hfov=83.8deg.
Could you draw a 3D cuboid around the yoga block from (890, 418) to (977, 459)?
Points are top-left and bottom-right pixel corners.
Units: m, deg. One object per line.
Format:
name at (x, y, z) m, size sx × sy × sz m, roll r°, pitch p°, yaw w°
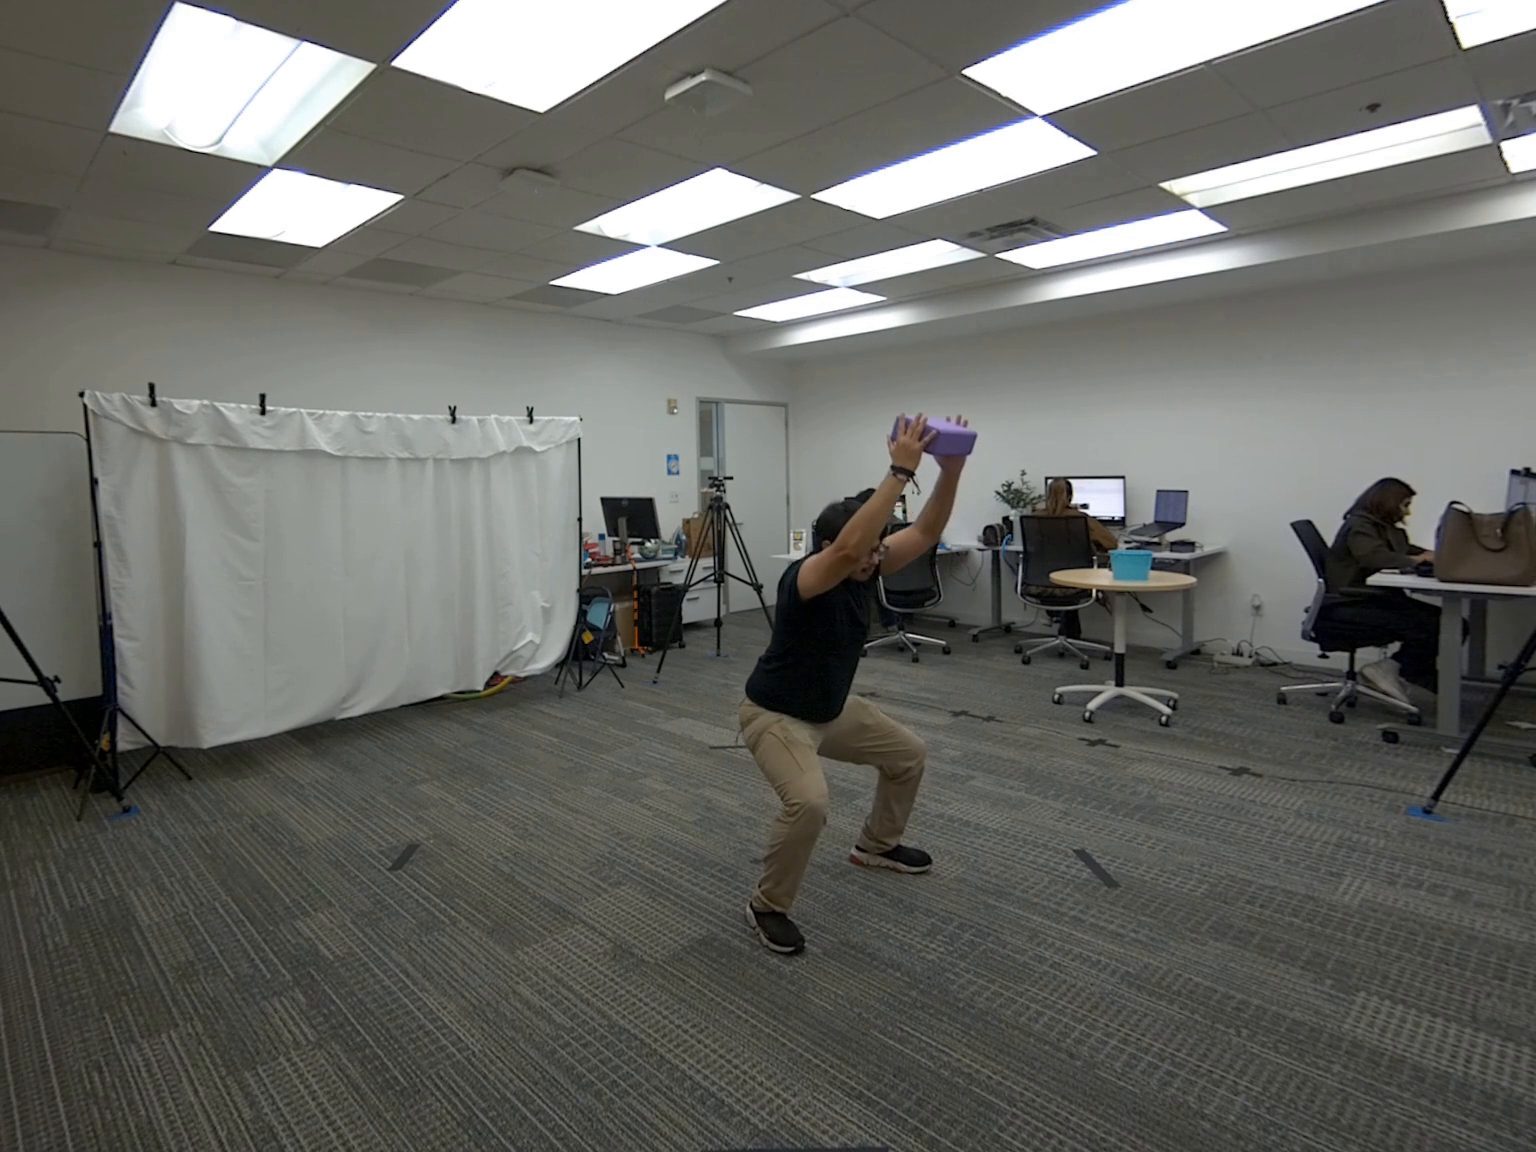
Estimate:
yoga block at (0.479, -0.403, 2.432) m, size 0.223 × 0.075 × 0.155 m, roll -7°, pitch 30°, yaw -46°
